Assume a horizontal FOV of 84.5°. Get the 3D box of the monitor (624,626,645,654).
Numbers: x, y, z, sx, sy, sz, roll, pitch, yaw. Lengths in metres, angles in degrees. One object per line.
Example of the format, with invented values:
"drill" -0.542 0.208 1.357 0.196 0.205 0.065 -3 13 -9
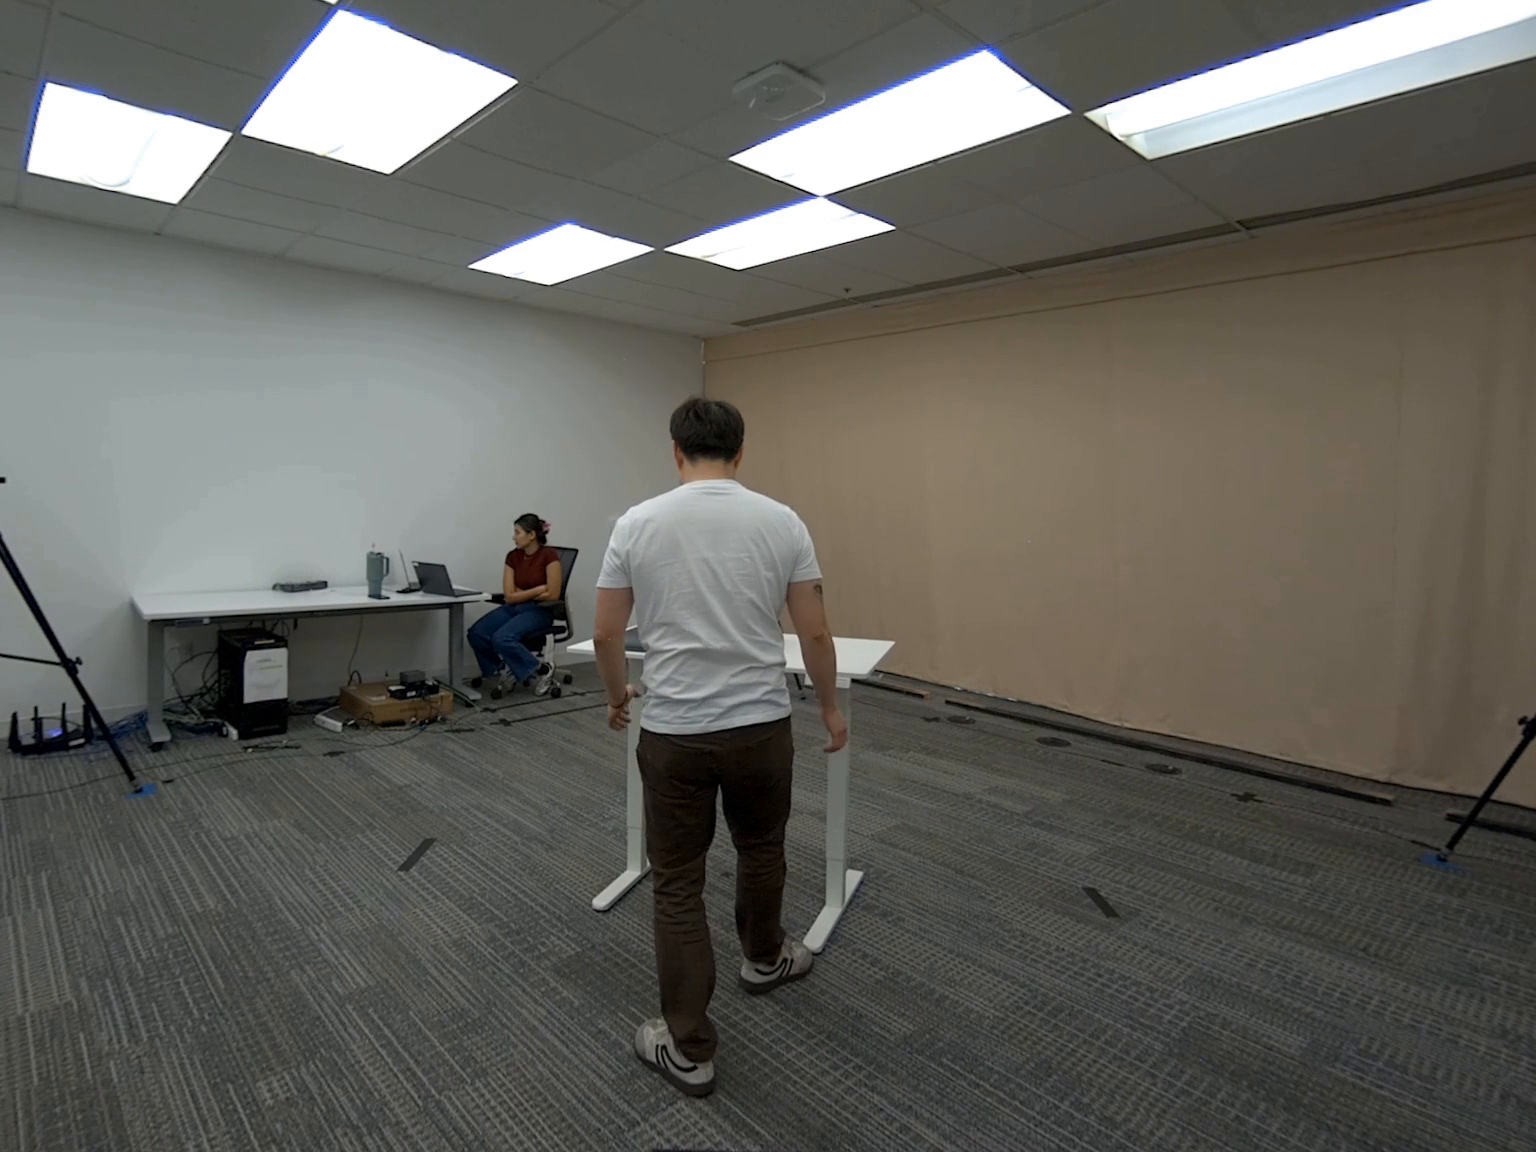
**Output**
"monitor" -0.270 0.171 2.962 0.527 0.187 0.533 -17 -1 15
